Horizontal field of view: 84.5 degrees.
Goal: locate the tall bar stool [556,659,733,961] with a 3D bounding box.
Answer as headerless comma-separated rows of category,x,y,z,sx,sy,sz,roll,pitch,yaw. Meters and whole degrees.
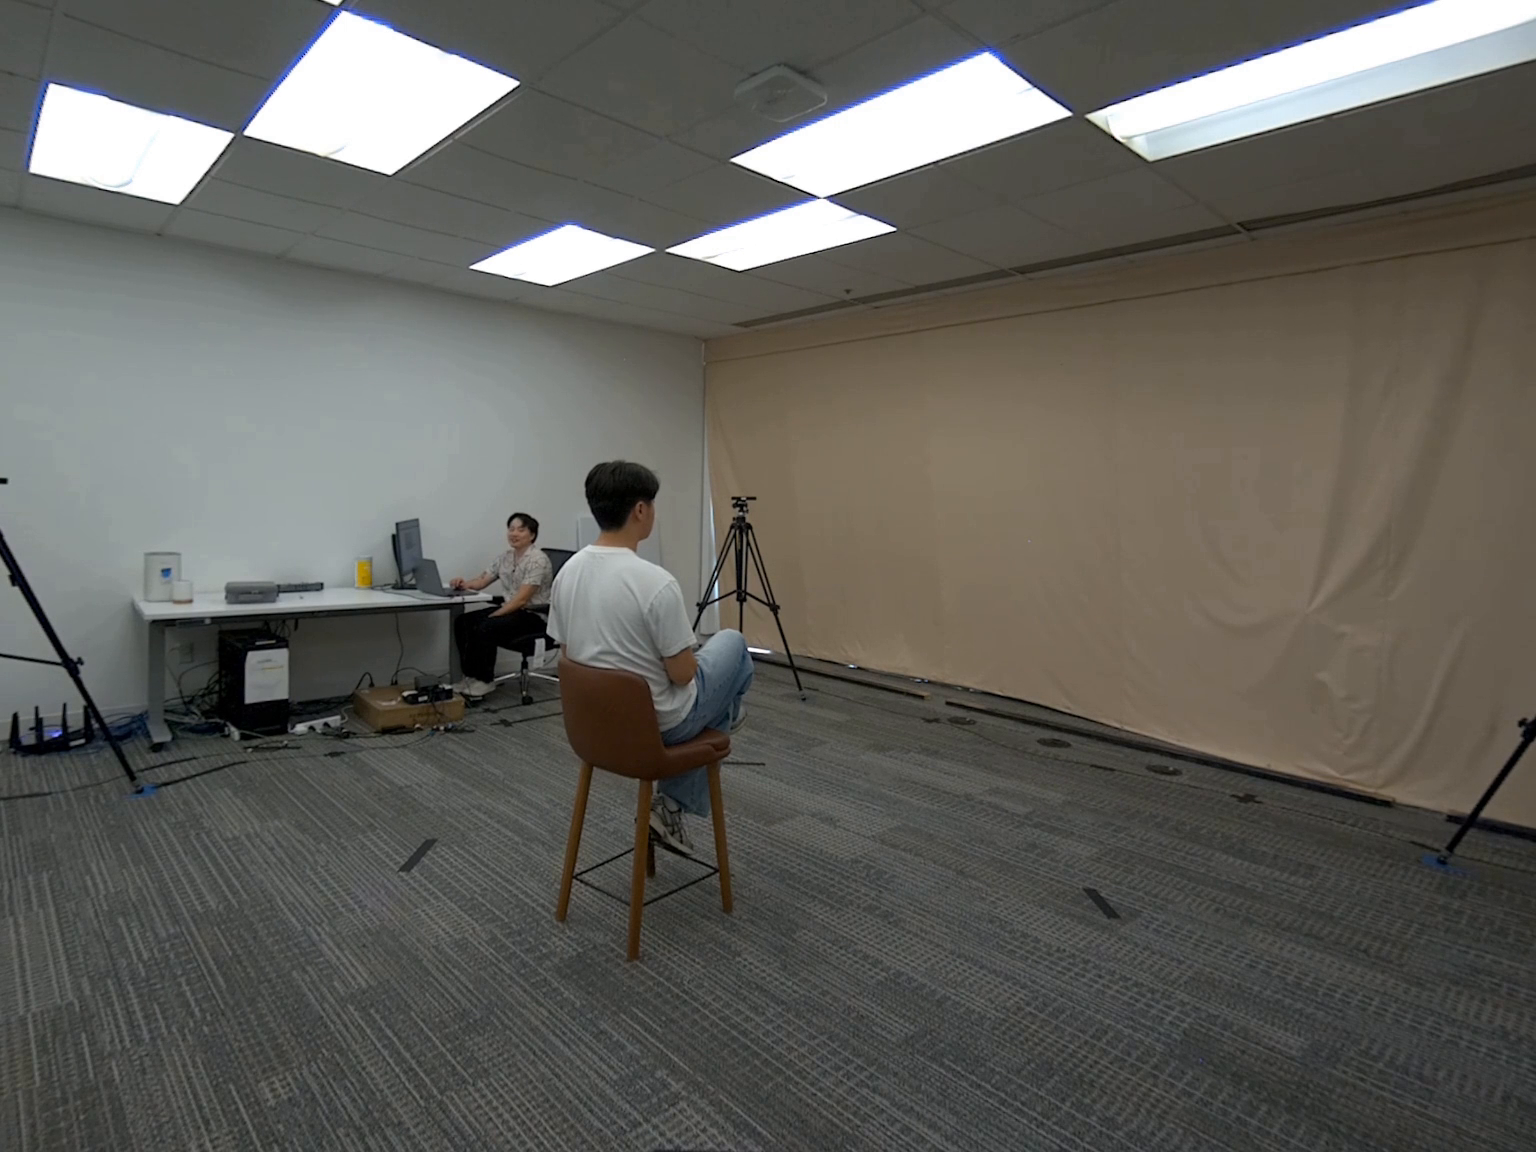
tall bar stool,-0.420,0.699,2.770,0.468,0.887,0.458,3,6,40
